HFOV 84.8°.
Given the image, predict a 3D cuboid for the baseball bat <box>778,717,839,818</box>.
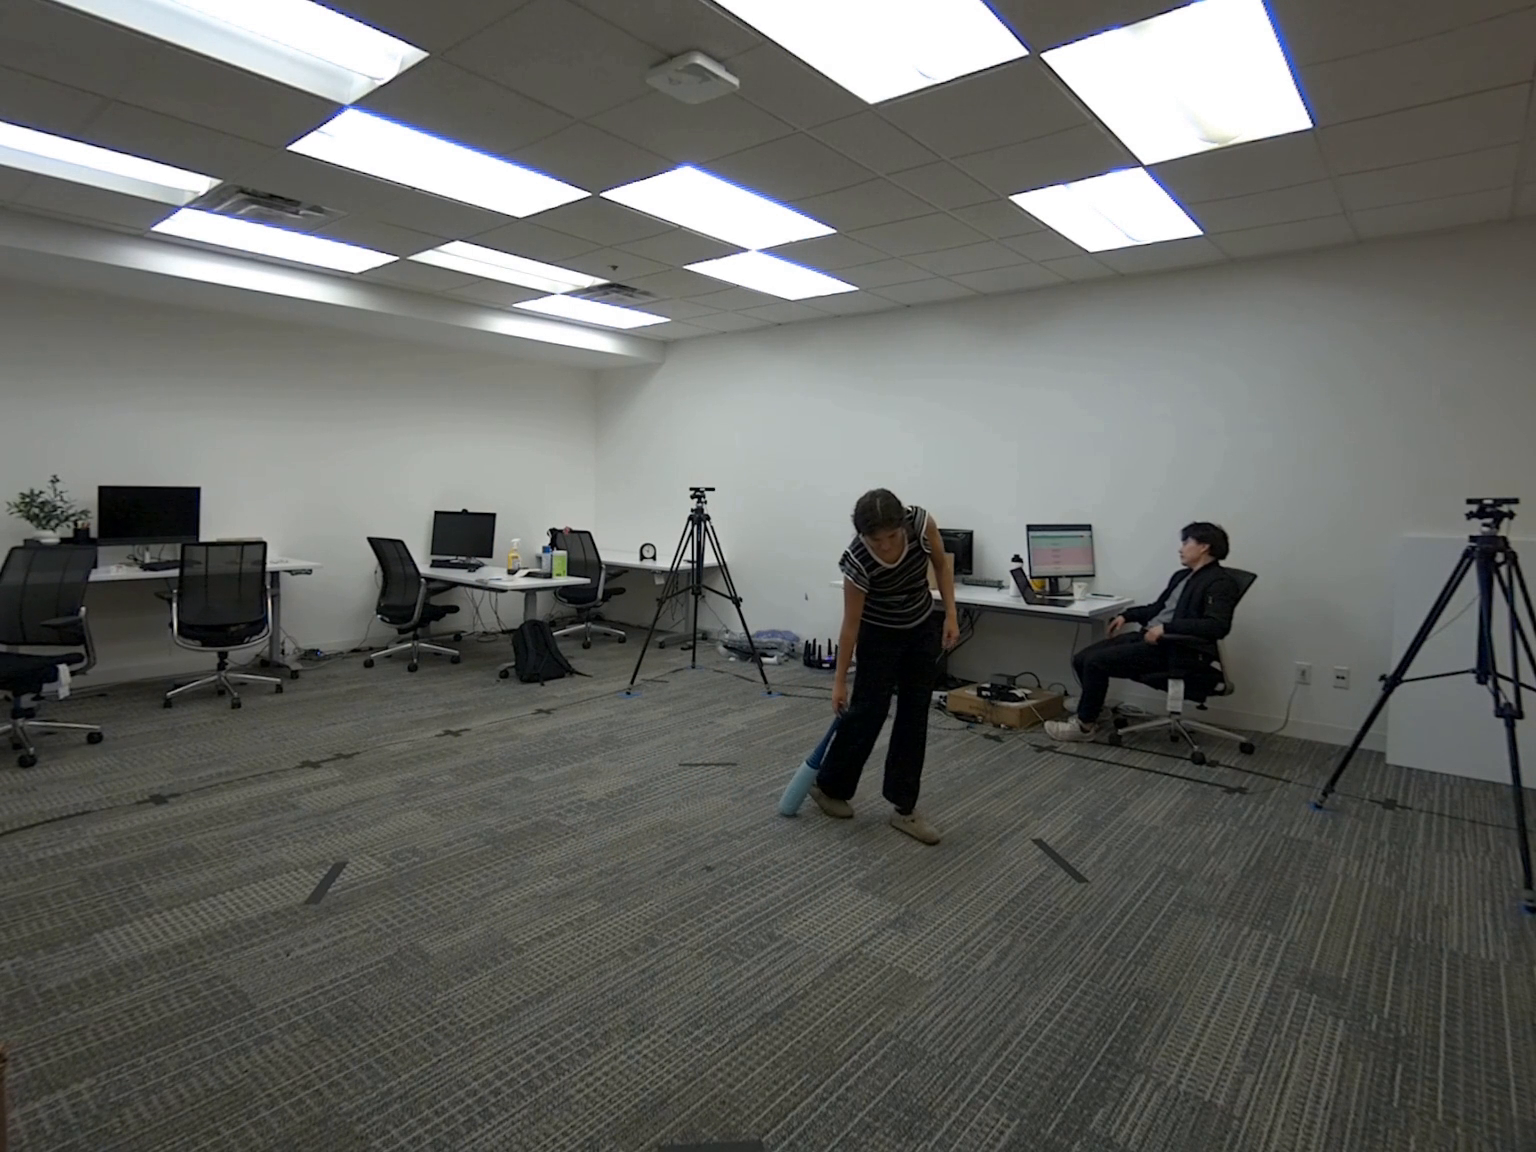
[{"bbox_3d":[0.187,0.778,3.588,0.088,0.540,0.090,24,15,-9],"label":"baseball bat"}]
